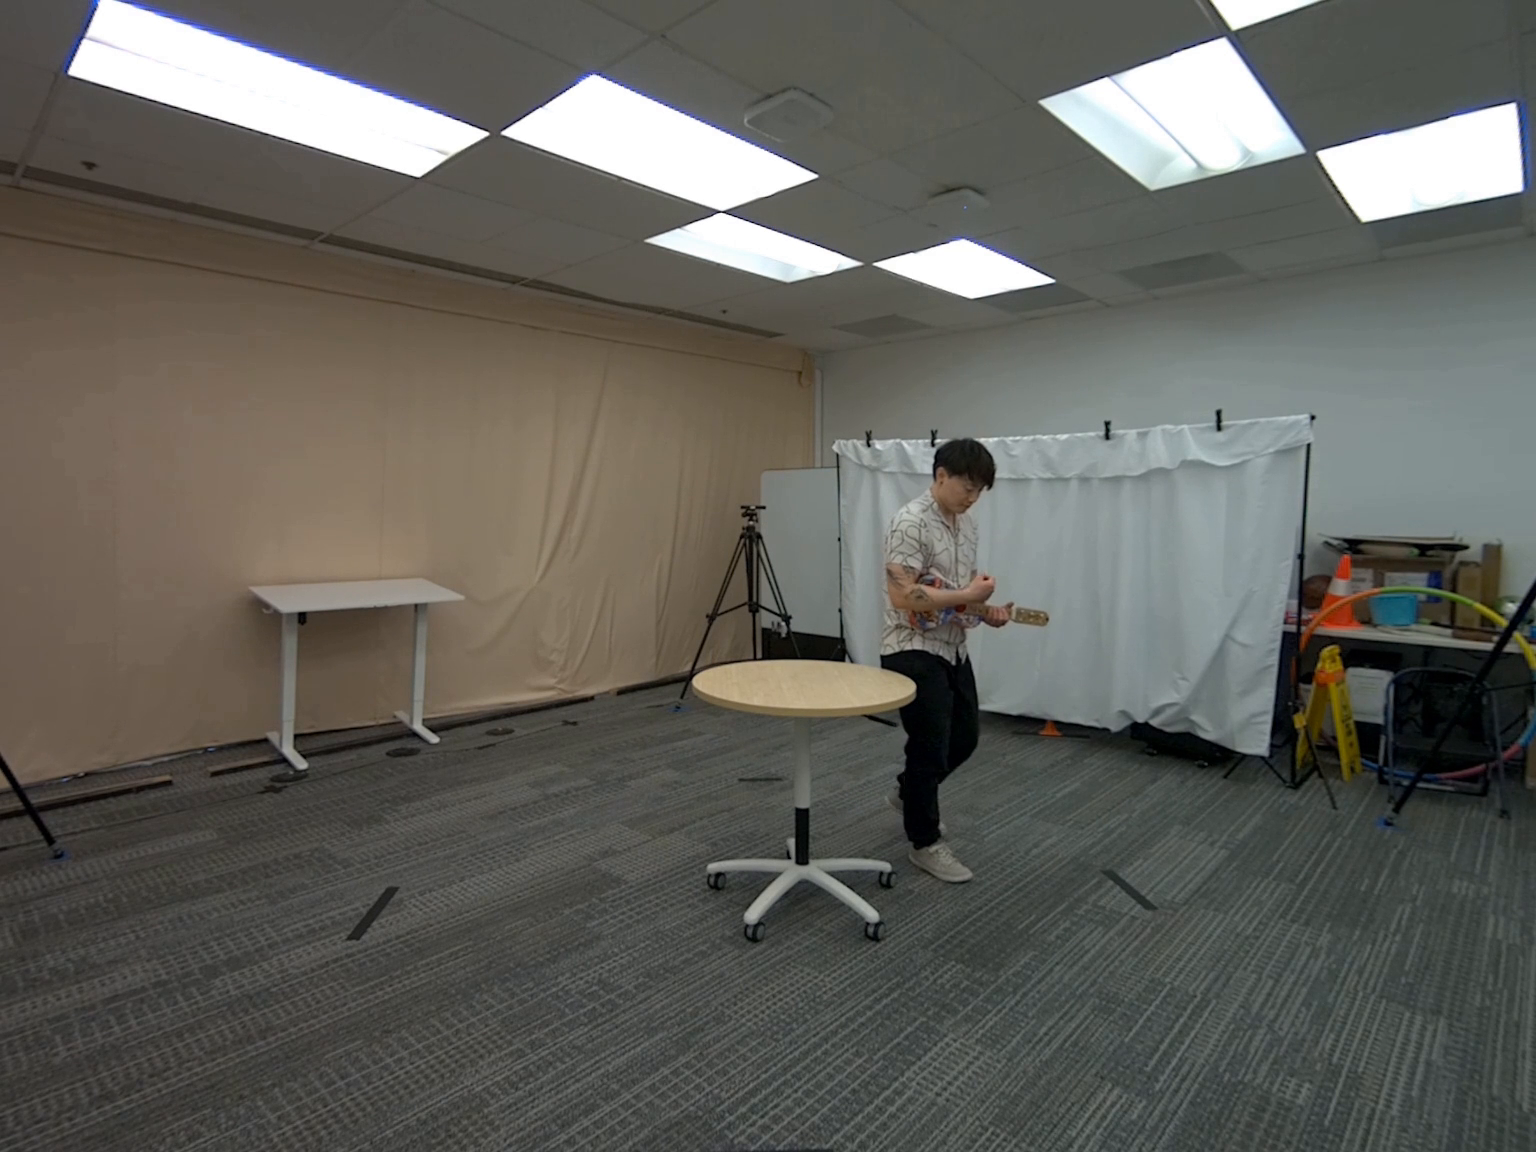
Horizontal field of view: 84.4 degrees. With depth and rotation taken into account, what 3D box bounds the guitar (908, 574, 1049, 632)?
[{"bbox_3d":[0.759,0.152,3.050,0.498,0.193,0.070,15,-6,0],"label":"guitar"}]
